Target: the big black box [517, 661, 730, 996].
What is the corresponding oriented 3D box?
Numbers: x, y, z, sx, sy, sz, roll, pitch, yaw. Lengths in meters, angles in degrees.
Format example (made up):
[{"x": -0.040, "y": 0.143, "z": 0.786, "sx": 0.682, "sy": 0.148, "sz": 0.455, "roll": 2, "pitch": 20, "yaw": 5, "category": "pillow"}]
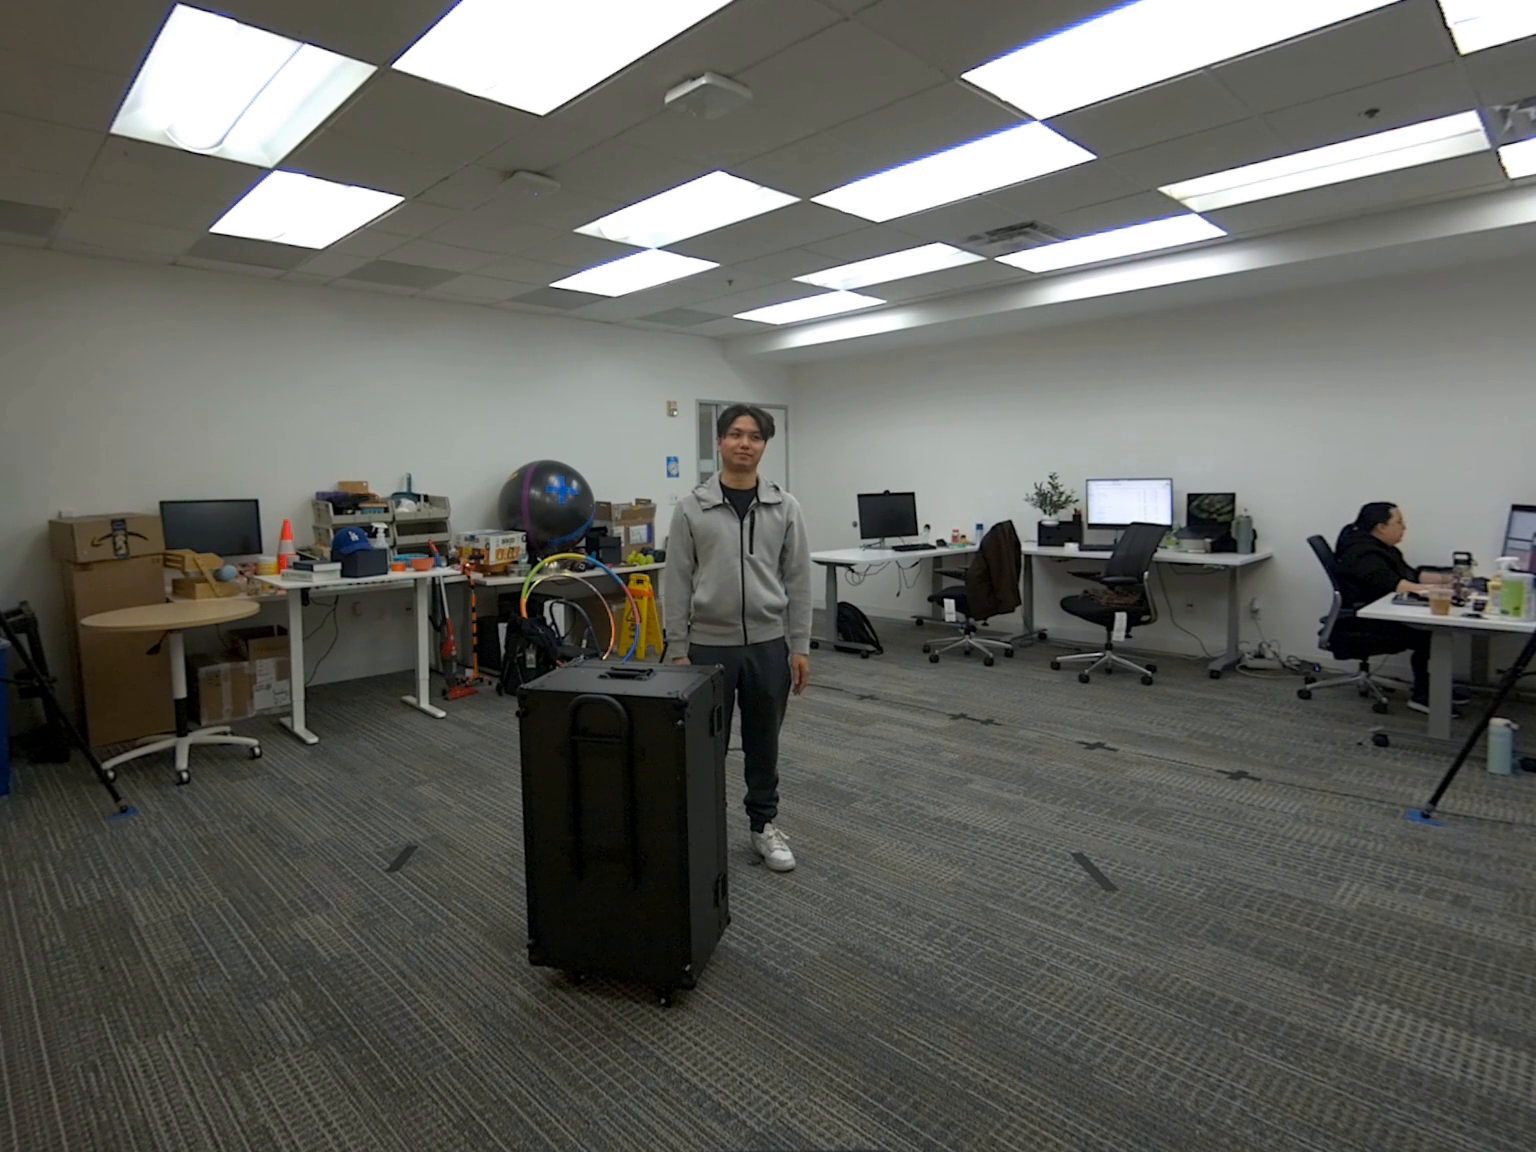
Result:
[{"x": -0.401, "y": 0.710, "z": 2.422, "sx": 0.530, "sy": 0.858, "sz": 0.391, "roll": 0, "pitch": 5, "yaw": 17, "category": "big black box"}]
